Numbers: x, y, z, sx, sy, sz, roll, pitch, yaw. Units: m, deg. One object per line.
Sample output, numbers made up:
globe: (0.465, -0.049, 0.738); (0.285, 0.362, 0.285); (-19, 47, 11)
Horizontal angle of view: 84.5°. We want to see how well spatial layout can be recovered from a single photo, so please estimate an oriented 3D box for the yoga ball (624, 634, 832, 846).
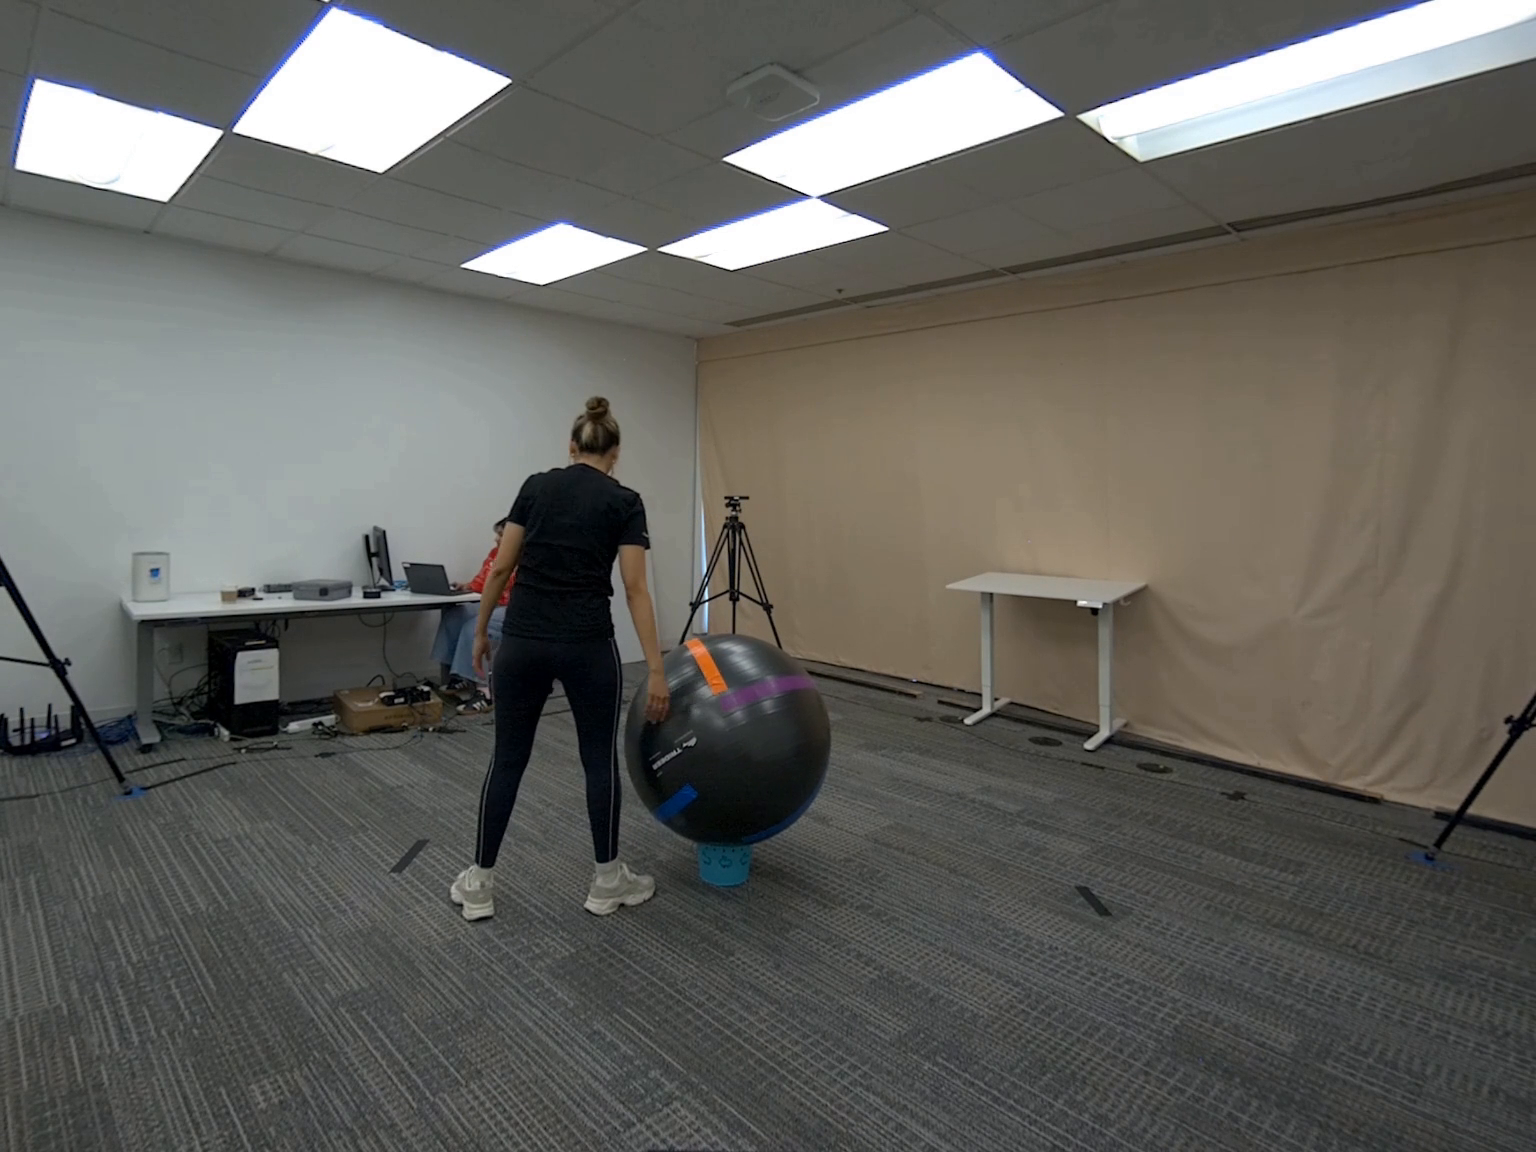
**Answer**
yoga ball: (-0.152, 0.592, 3.085); (0.757, 0.756, 0.761); (1, 4, -1)
